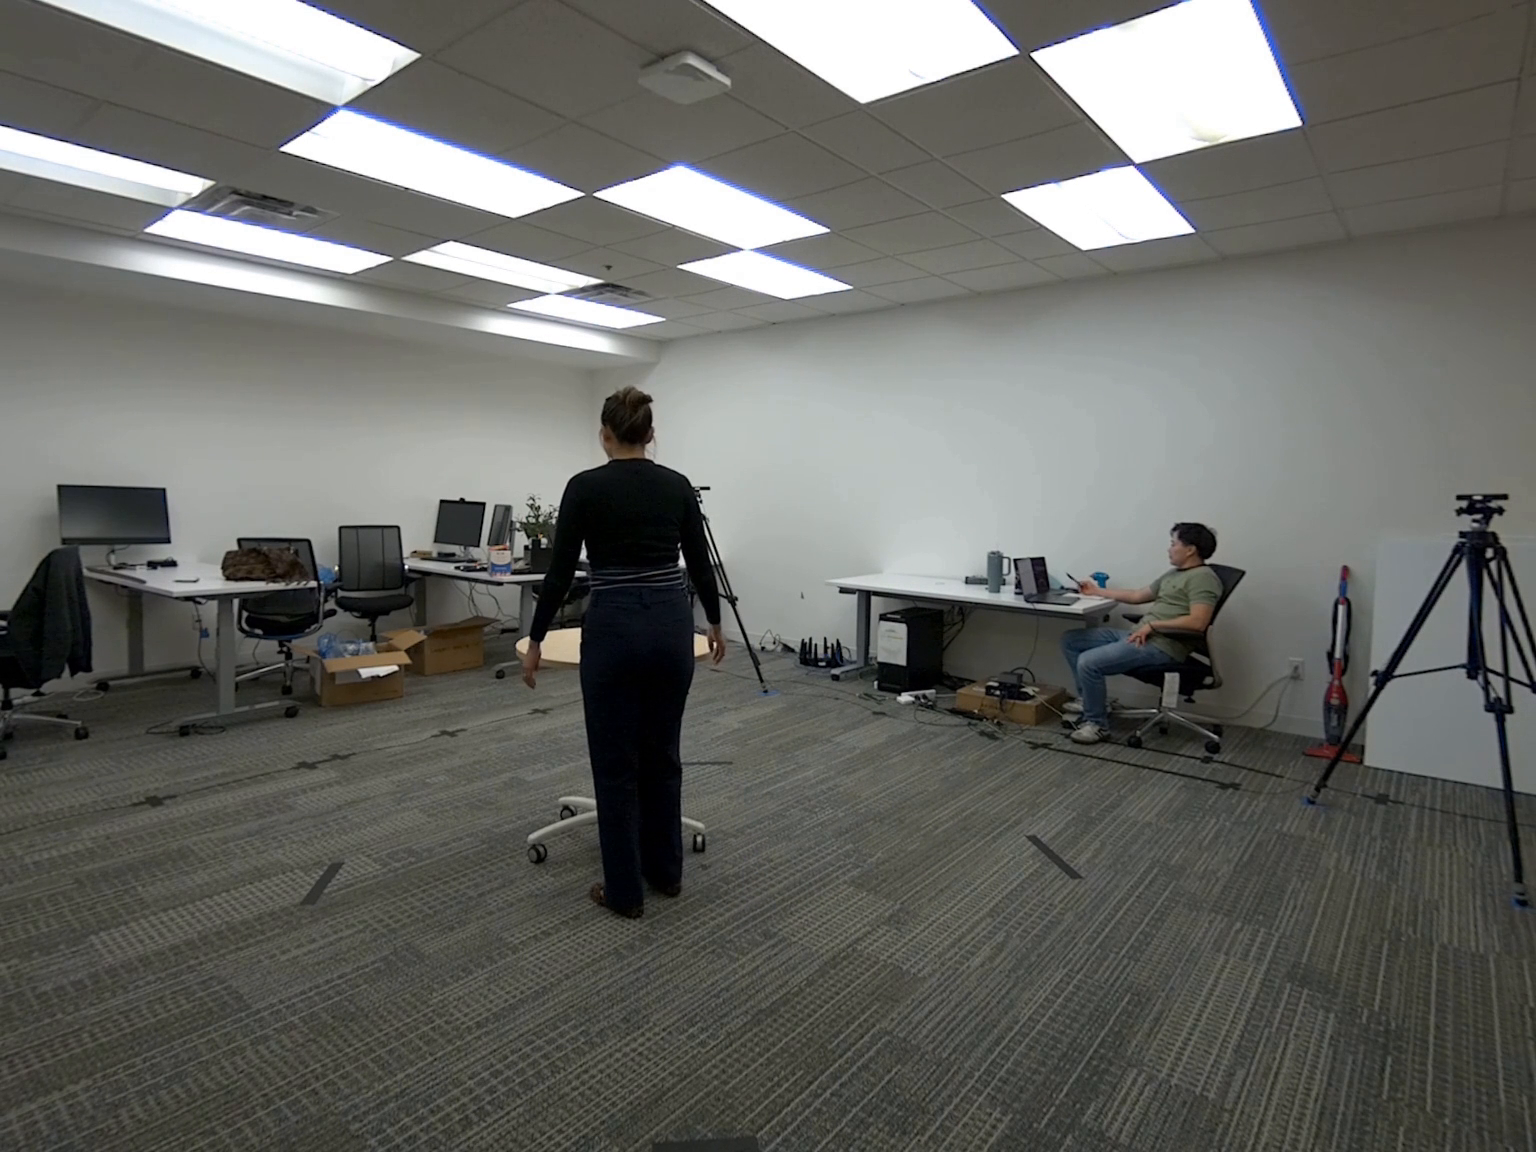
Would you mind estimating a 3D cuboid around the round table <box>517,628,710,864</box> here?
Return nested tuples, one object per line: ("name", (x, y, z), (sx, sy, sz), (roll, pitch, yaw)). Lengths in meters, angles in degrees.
("round table", (-0.603, 0.651, 3.302), (0.763, 0.791, 0.768), (1, 4, -2))
